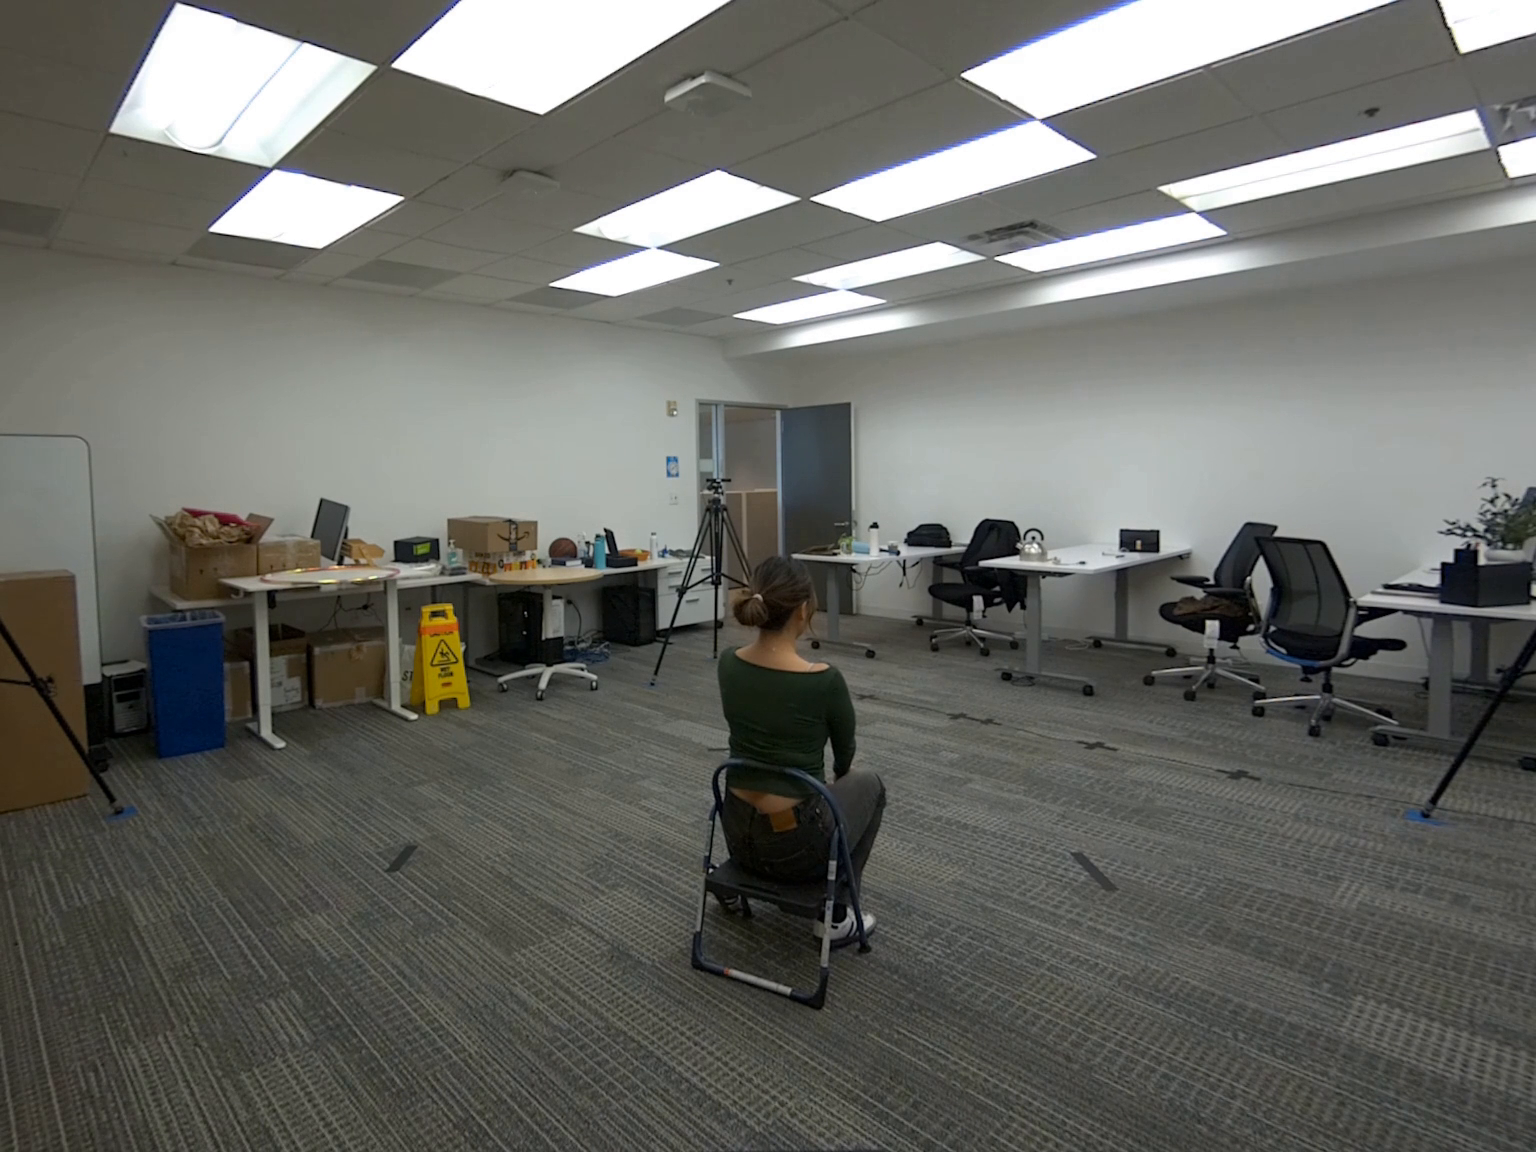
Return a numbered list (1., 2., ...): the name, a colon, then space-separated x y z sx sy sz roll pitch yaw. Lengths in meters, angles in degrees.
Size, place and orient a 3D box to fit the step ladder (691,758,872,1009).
1. step ladder: 0.033 0.824 2.466 0.442 0.603 0.342 1 5 29
